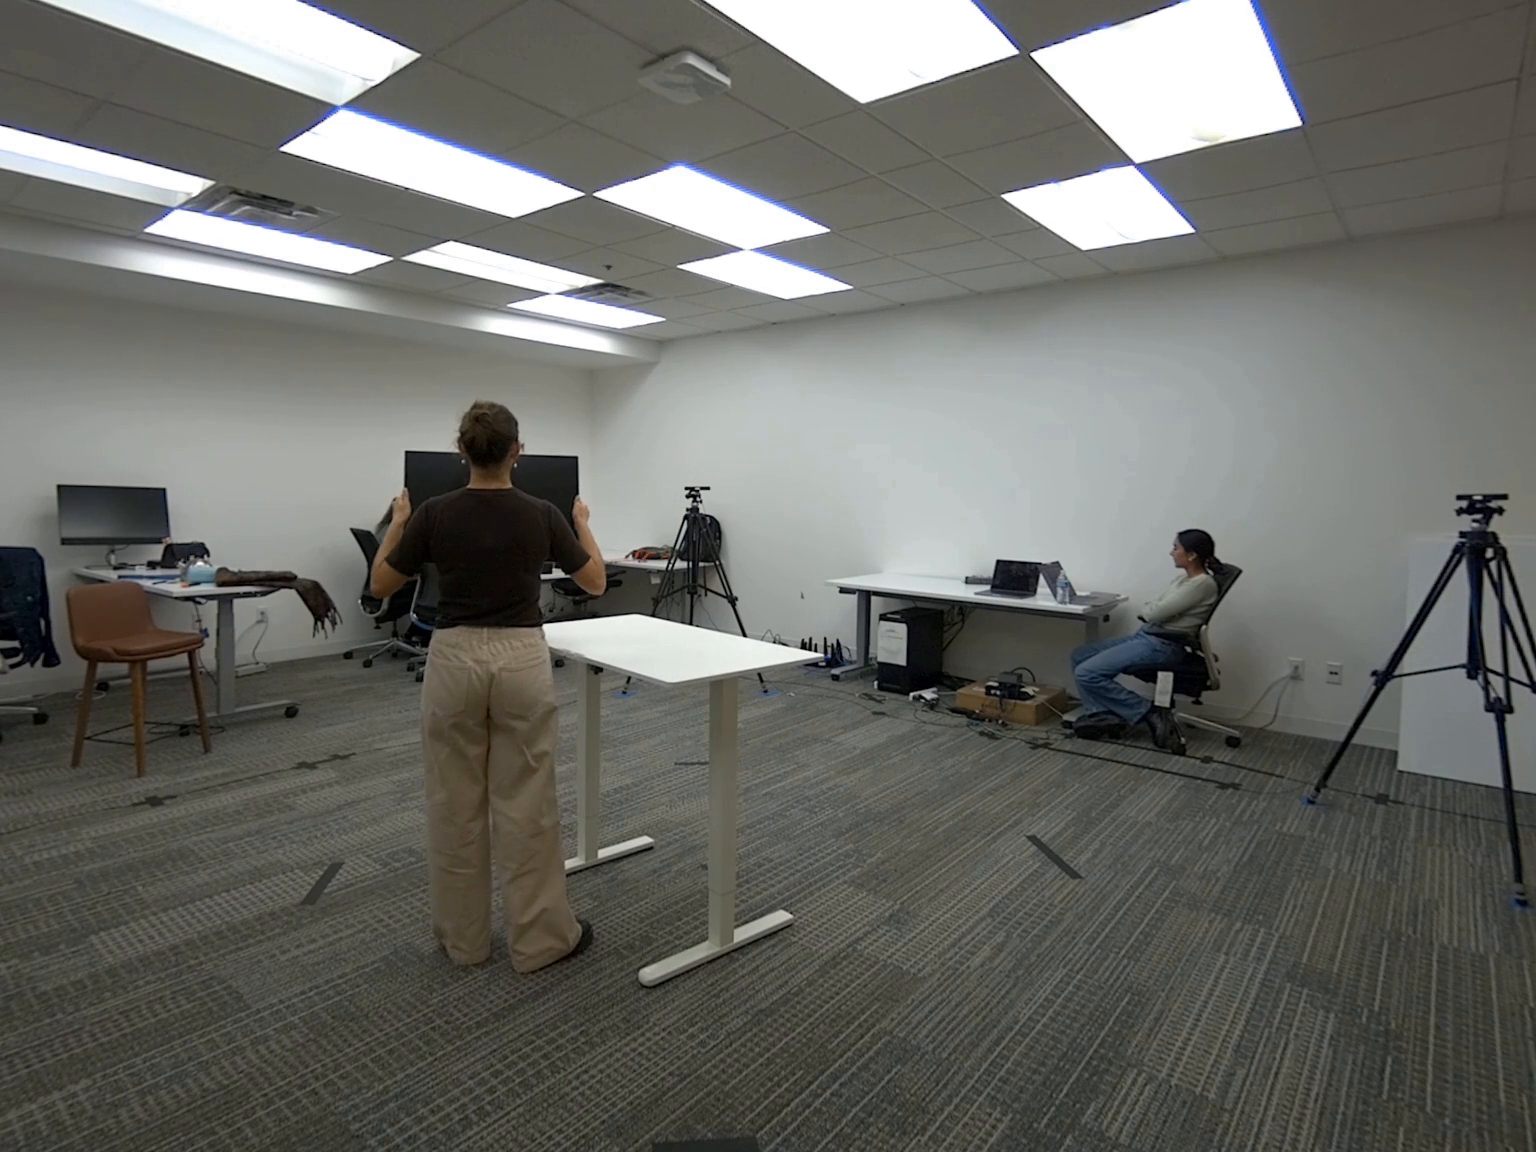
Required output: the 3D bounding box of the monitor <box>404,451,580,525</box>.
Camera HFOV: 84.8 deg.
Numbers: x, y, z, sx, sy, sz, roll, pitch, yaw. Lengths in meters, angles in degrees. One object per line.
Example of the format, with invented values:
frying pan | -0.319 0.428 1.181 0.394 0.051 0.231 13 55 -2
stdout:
monitor | -0.878 -0.128 2.704 0.528 0.521 0.191 1 3 -21
